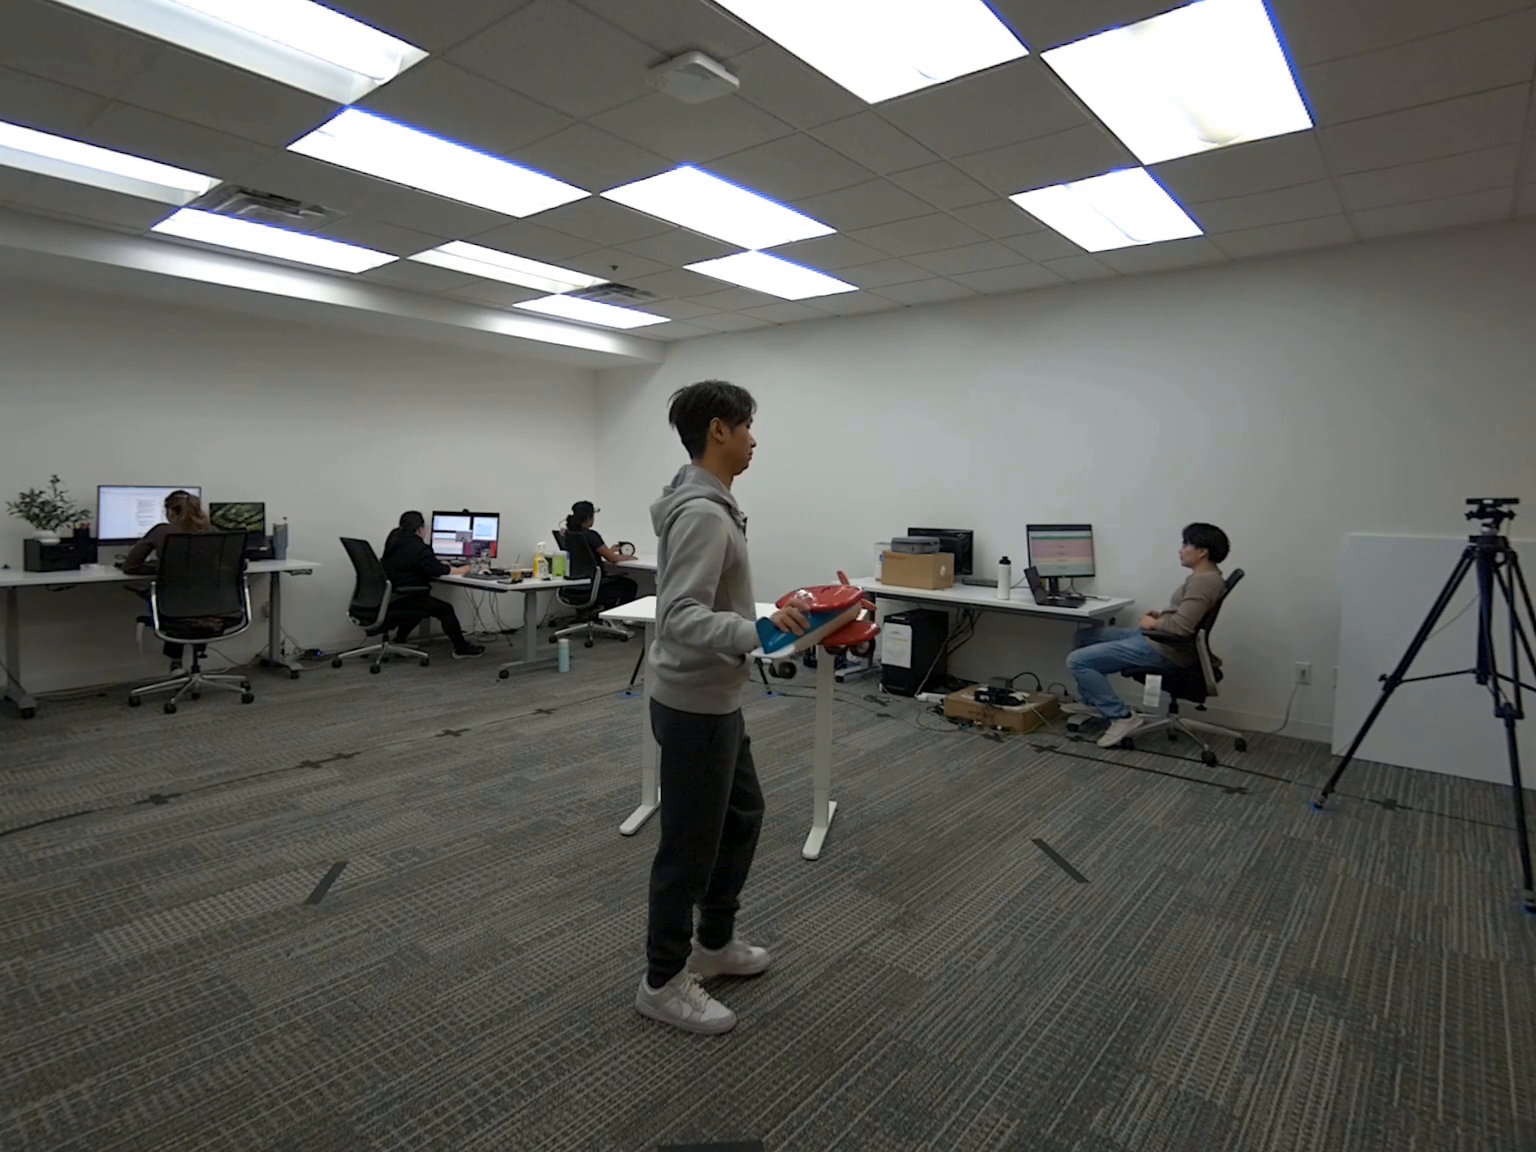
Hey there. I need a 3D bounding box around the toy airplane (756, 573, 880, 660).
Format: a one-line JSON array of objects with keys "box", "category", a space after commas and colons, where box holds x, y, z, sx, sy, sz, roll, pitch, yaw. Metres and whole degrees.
[{"box": [0.091, 0.097, 1.721, 0.257, 0.156, 0.254, -9, 5, 33], "category": "toy airplane"}]
